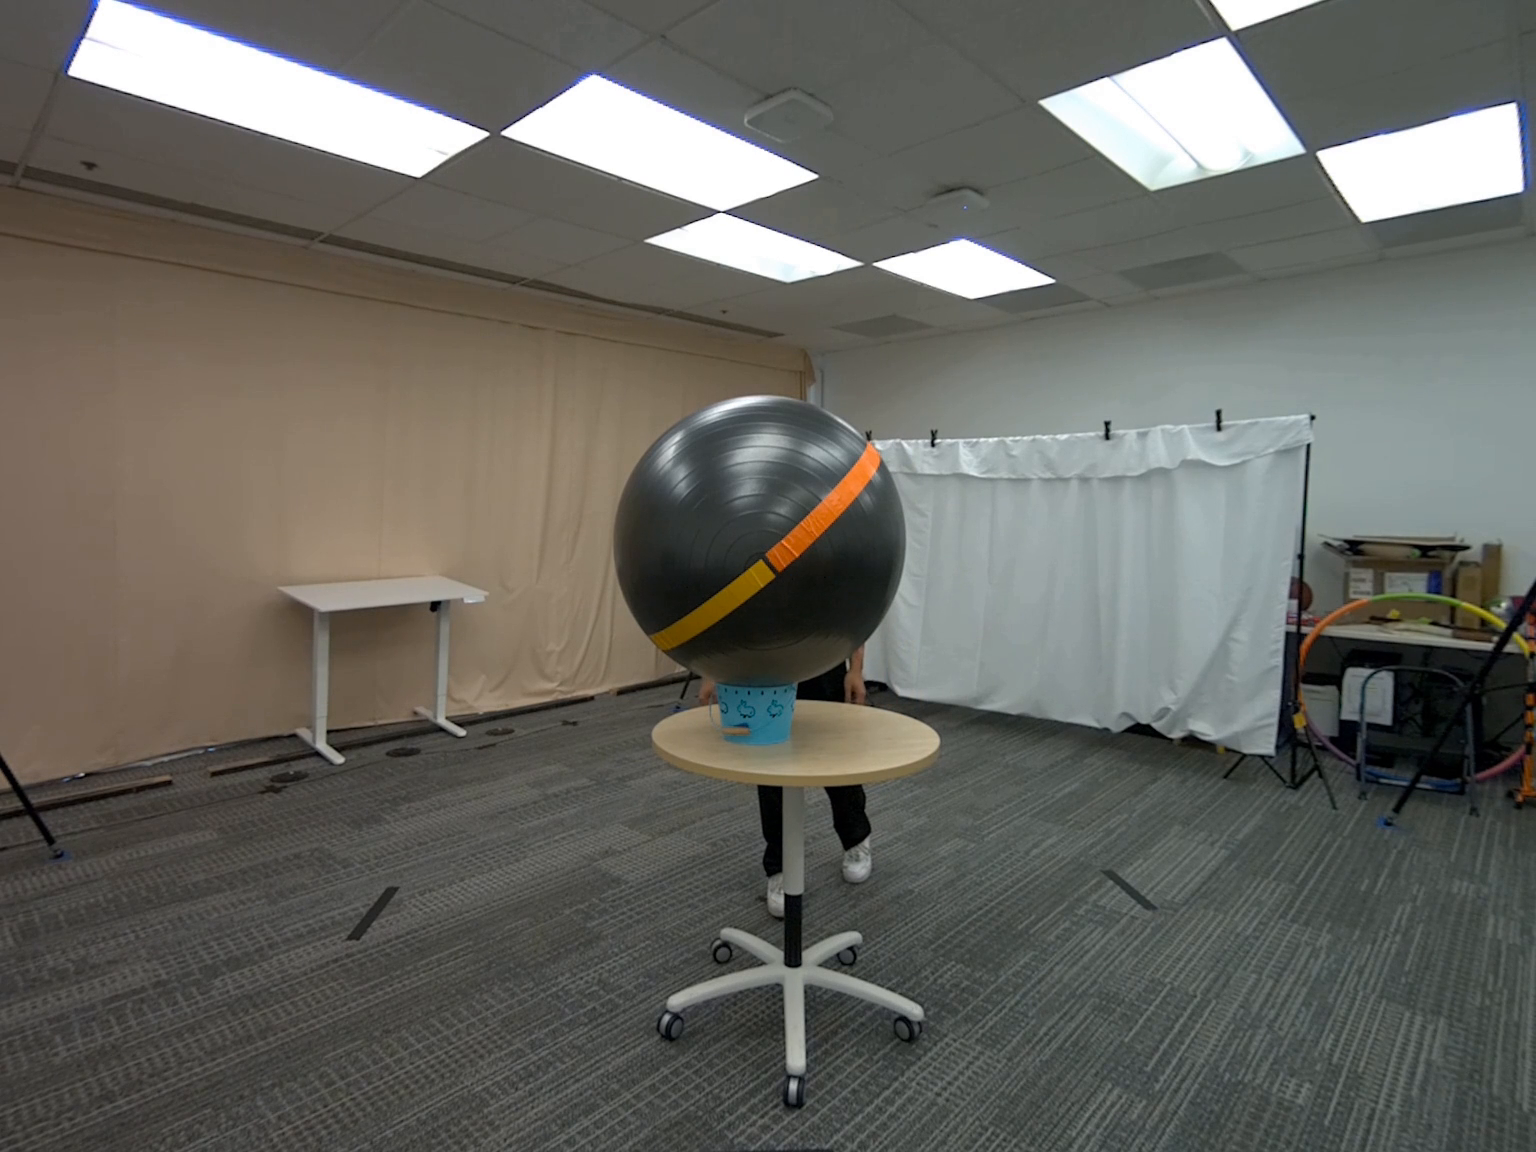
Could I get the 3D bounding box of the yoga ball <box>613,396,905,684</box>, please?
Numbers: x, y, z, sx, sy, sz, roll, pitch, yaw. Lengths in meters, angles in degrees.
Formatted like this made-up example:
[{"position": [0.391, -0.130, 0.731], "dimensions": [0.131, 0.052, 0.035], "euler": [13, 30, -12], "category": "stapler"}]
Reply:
[{"position": [-0.022, -0.087, 2.202], "dimensions": [0.757, 0.756, 0.760], "euler": [0, 4, -2], "category": "yoga ball"}]
